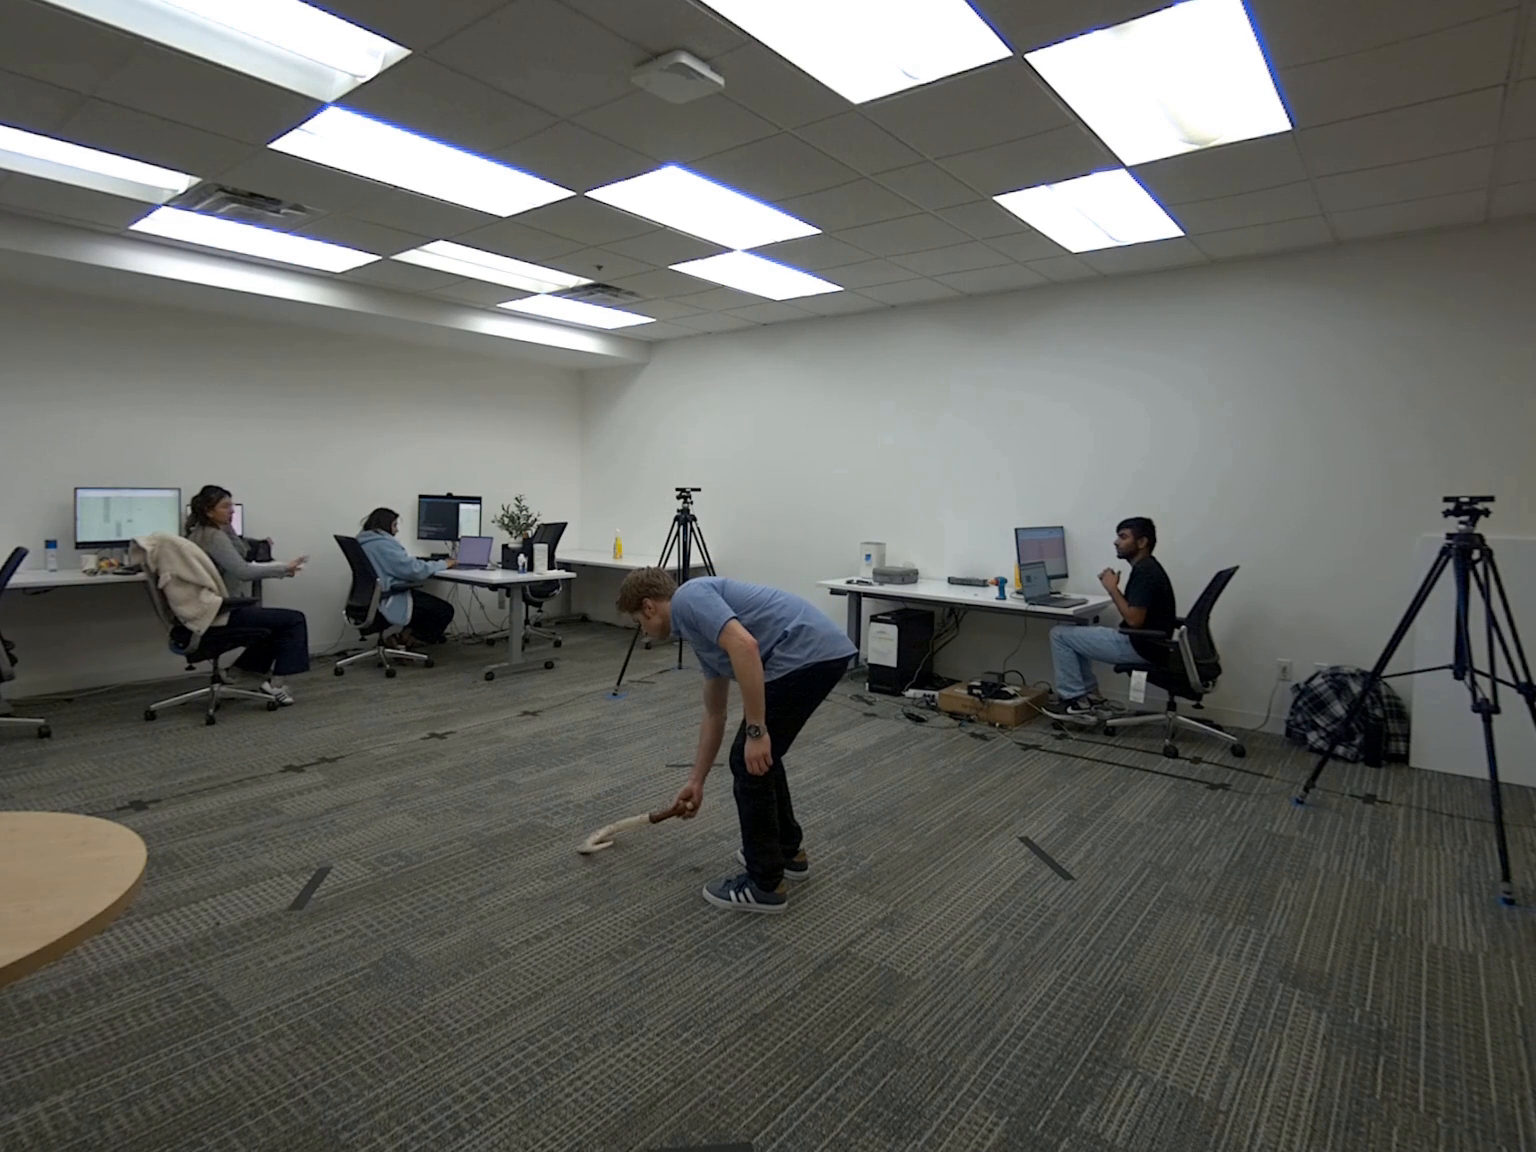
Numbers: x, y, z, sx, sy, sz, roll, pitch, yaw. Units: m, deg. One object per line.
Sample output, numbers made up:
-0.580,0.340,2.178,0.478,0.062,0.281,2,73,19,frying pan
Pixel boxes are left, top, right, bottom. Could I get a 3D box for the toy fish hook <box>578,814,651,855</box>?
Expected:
-0.517,0.948,3.188,0.513,0.048,0.222,-24,3,23,toy fish hook
